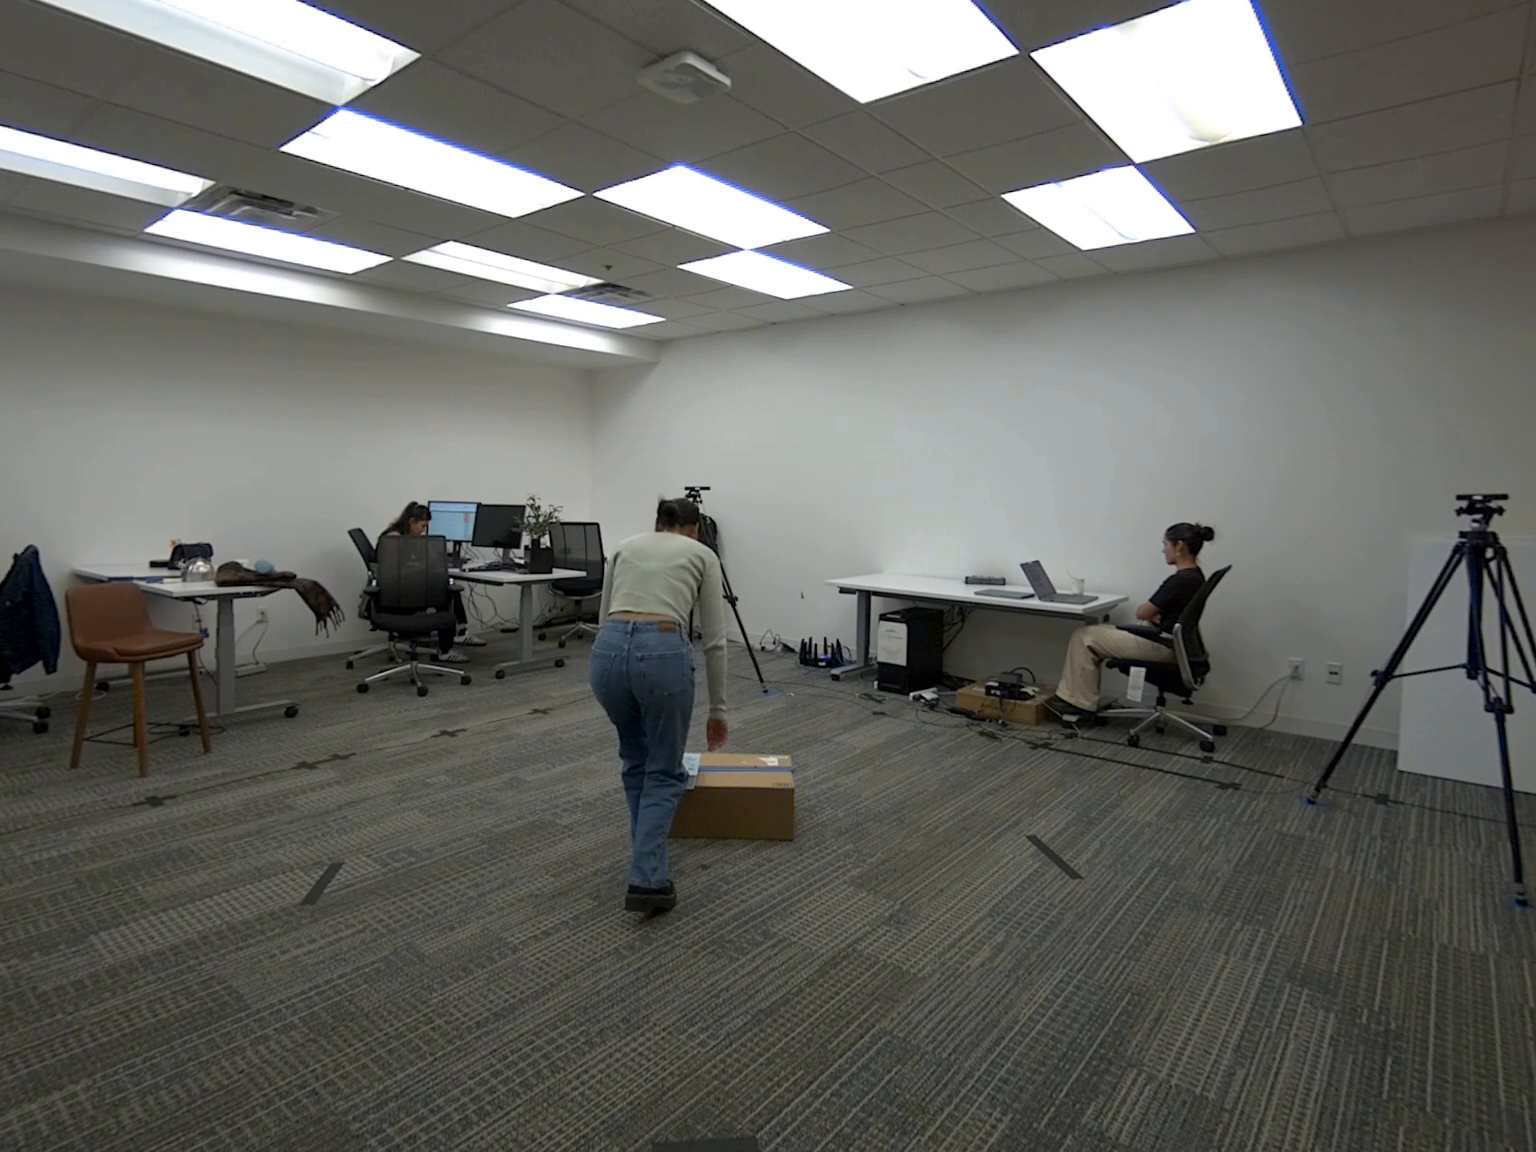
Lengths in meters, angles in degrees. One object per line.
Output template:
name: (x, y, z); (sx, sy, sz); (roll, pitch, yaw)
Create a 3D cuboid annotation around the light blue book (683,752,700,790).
light blue book: (-0.383, 0.780, 3.446); (0.191, 0.059, 0.262); (2, 6, 0)
